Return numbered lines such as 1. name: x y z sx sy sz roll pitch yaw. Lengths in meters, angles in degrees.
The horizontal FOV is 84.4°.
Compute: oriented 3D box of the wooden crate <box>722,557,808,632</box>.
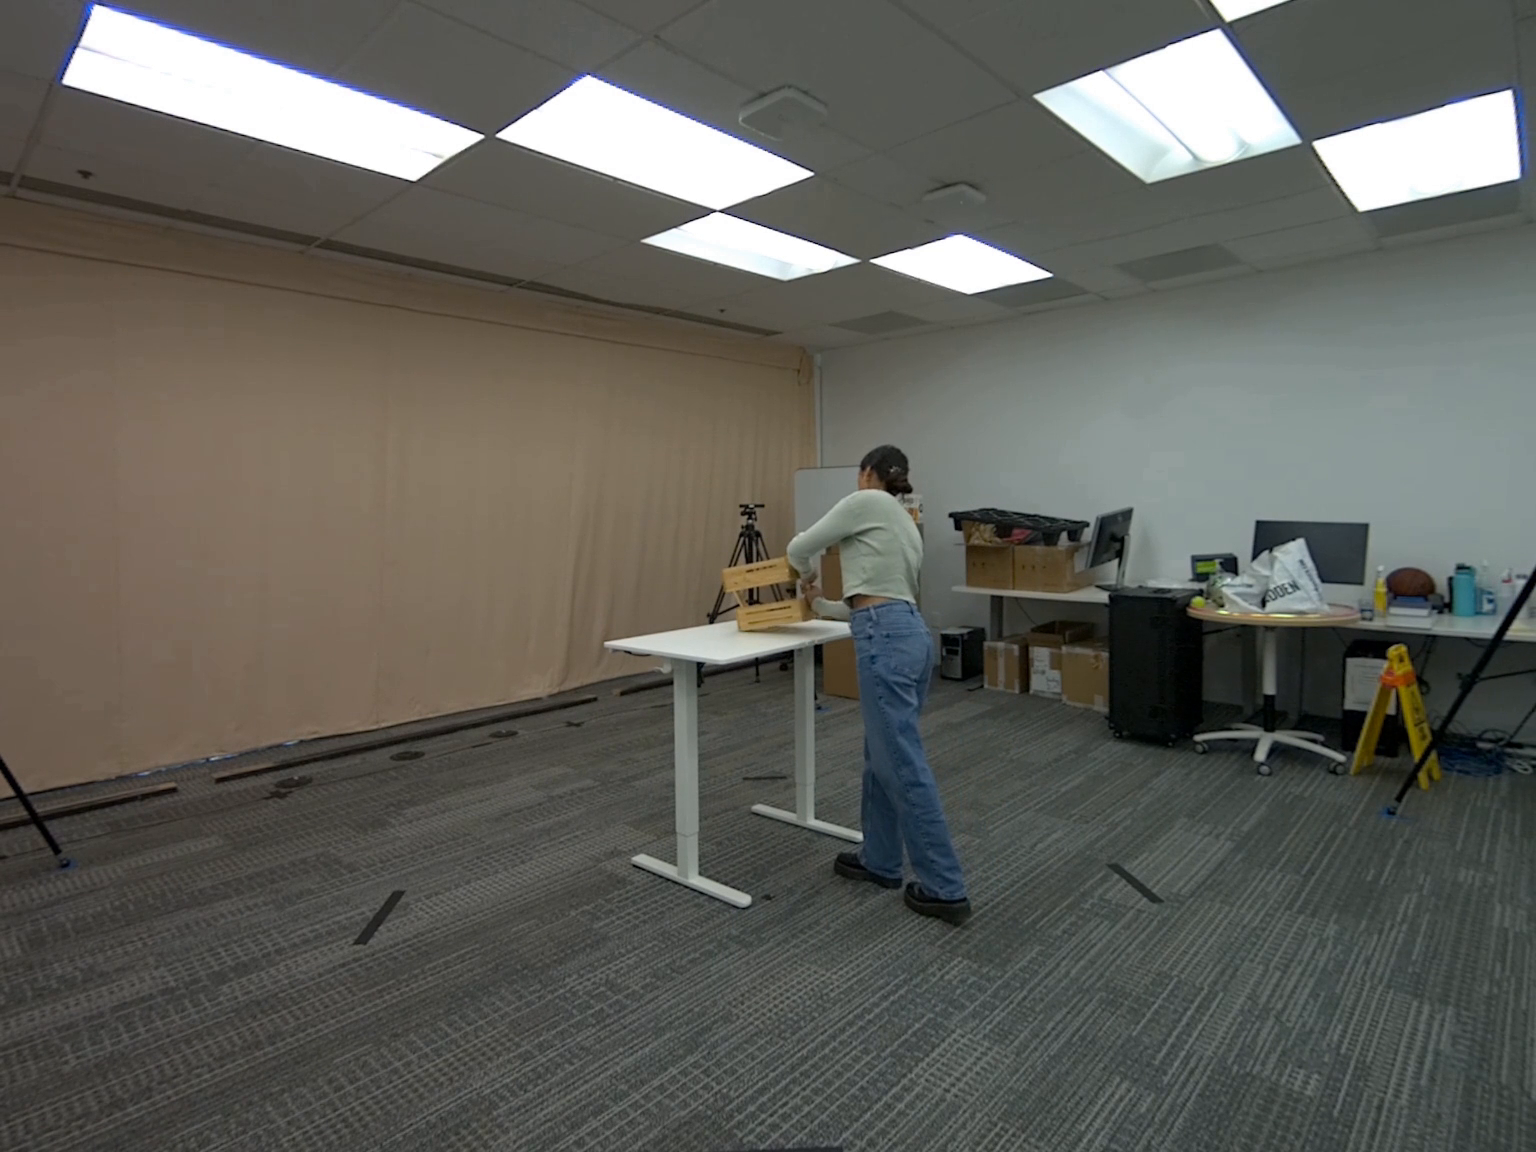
1. wooden crate: 0.037 0.066 3.404 0.332 0.273 0.294 -11 0 30
